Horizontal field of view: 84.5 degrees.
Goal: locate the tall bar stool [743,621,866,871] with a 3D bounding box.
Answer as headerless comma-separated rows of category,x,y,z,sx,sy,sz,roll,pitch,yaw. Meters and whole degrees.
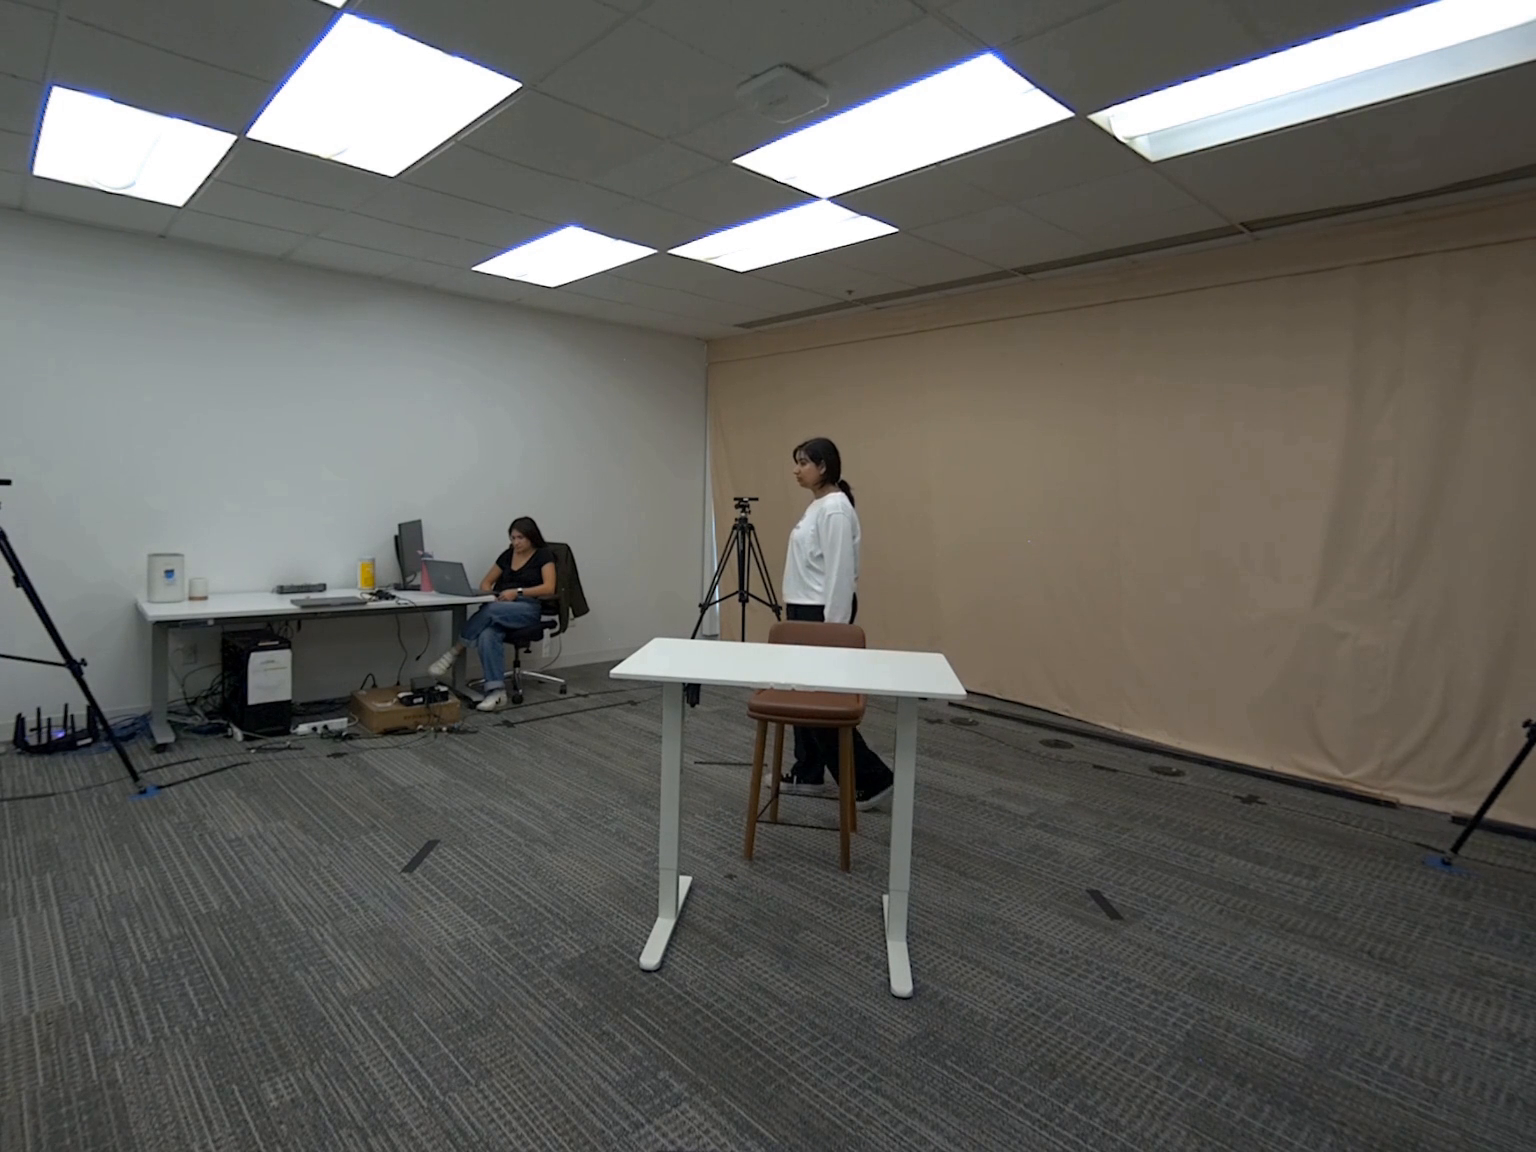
tall bar stool,0.151,0.651,3.406,0.462,0.889,0.462,2,1,14
